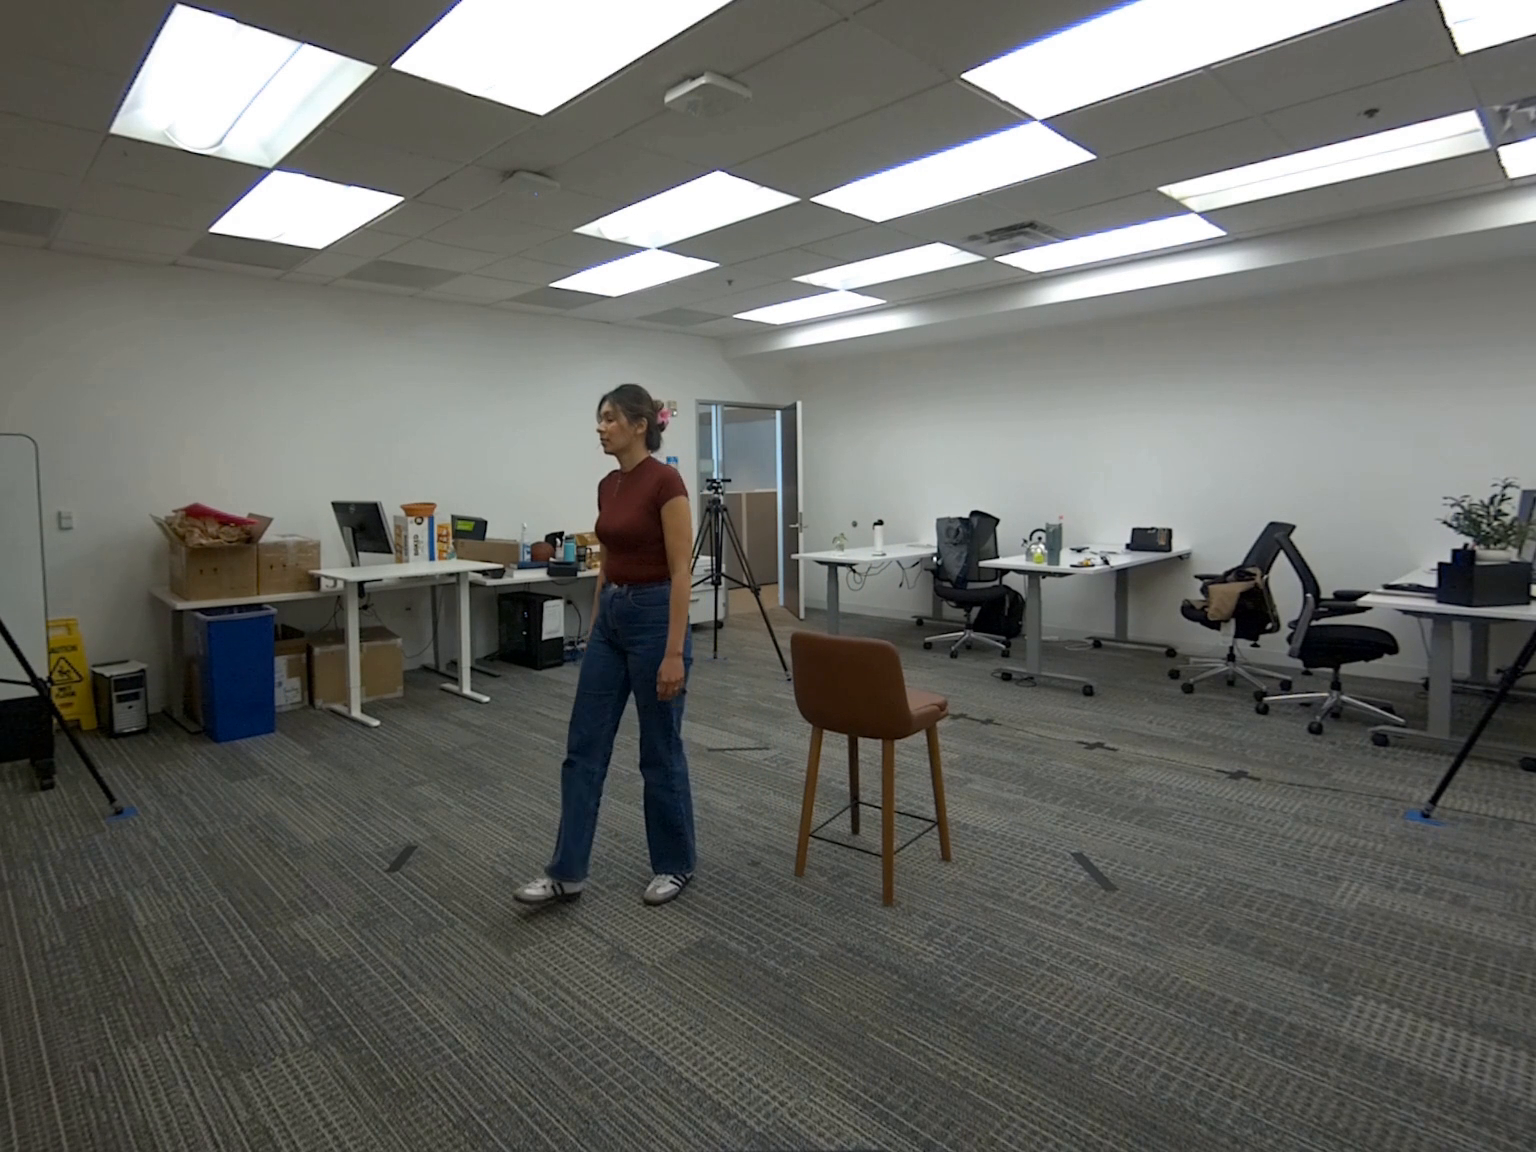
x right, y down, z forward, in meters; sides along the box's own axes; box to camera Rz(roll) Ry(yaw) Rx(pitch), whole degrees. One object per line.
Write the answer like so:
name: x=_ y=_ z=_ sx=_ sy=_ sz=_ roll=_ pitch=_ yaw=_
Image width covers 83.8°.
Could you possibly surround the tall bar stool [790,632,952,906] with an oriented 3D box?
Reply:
tall bar stool: x=0.365 y=0.611 z=3.037 sx=0.470 sy=0.885 sz=0.456 roll=2 pitch=7 yaw=38
